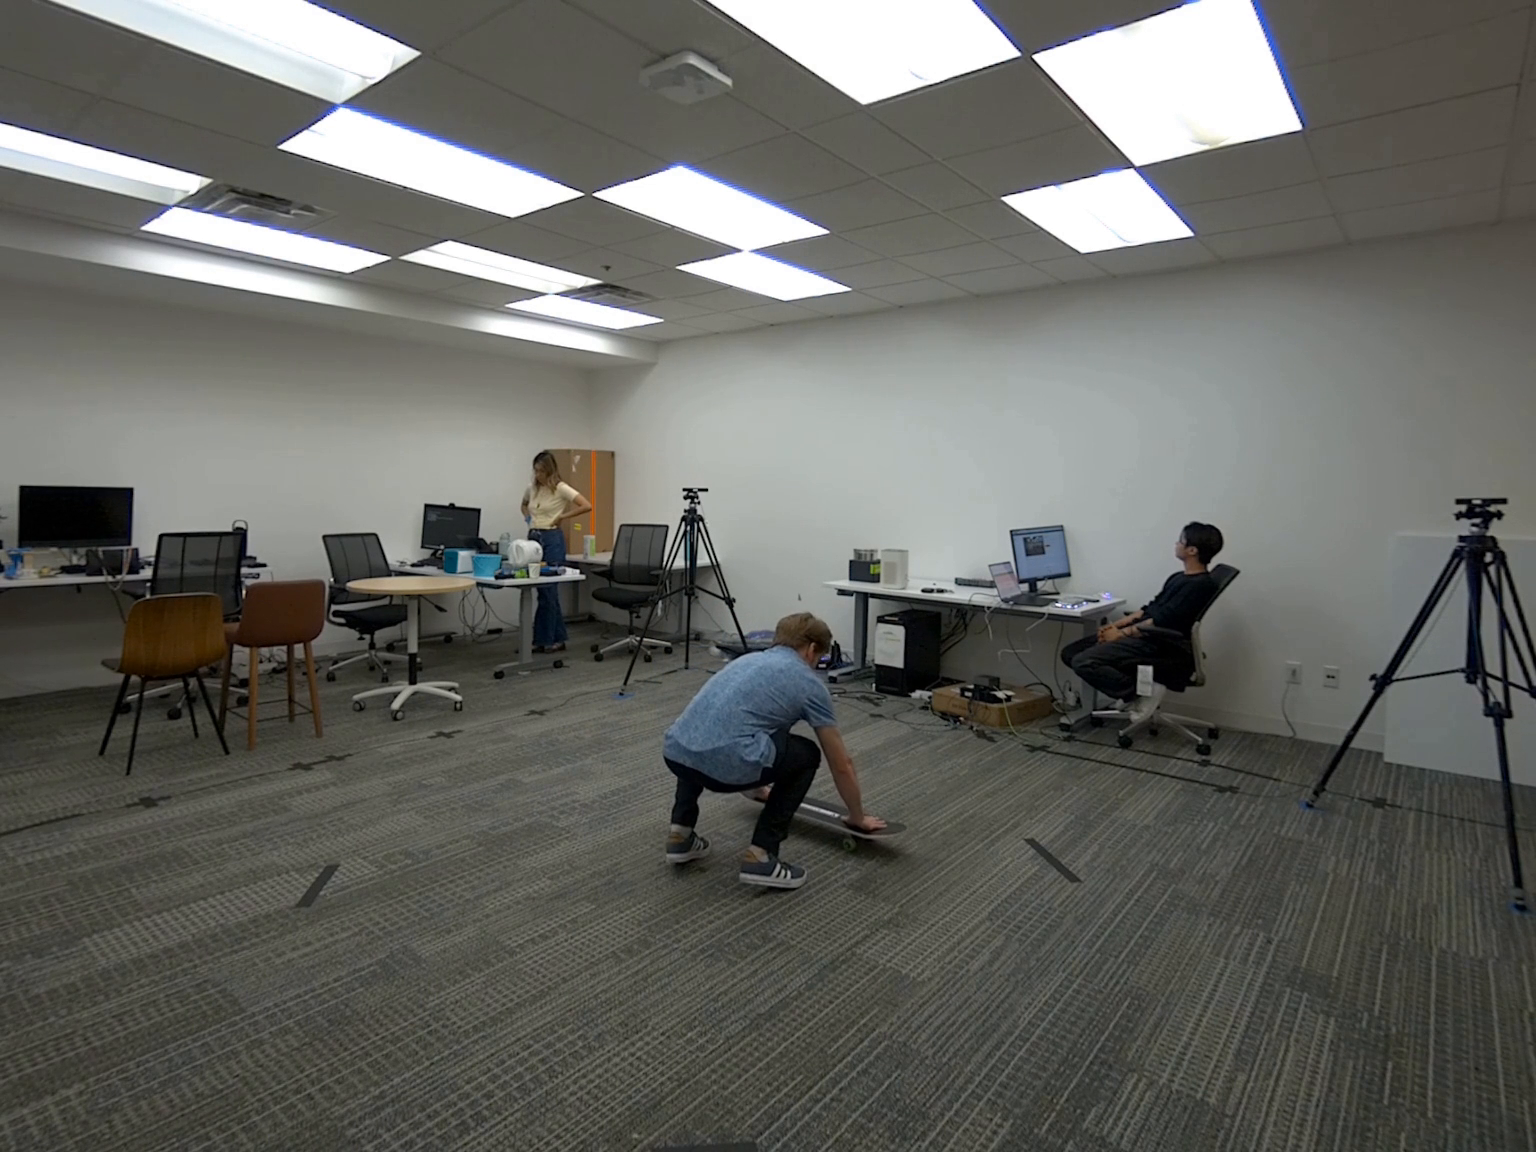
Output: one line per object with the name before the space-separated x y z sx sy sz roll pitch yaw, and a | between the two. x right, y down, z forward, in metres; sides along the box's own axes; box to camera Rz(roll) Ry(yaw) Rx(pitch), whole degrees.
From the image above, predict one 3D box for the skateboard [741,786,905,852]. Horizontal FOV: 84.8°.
skateboard | 0.189 0.985 3.476 0.812 0.110 0.187 6 5 38
